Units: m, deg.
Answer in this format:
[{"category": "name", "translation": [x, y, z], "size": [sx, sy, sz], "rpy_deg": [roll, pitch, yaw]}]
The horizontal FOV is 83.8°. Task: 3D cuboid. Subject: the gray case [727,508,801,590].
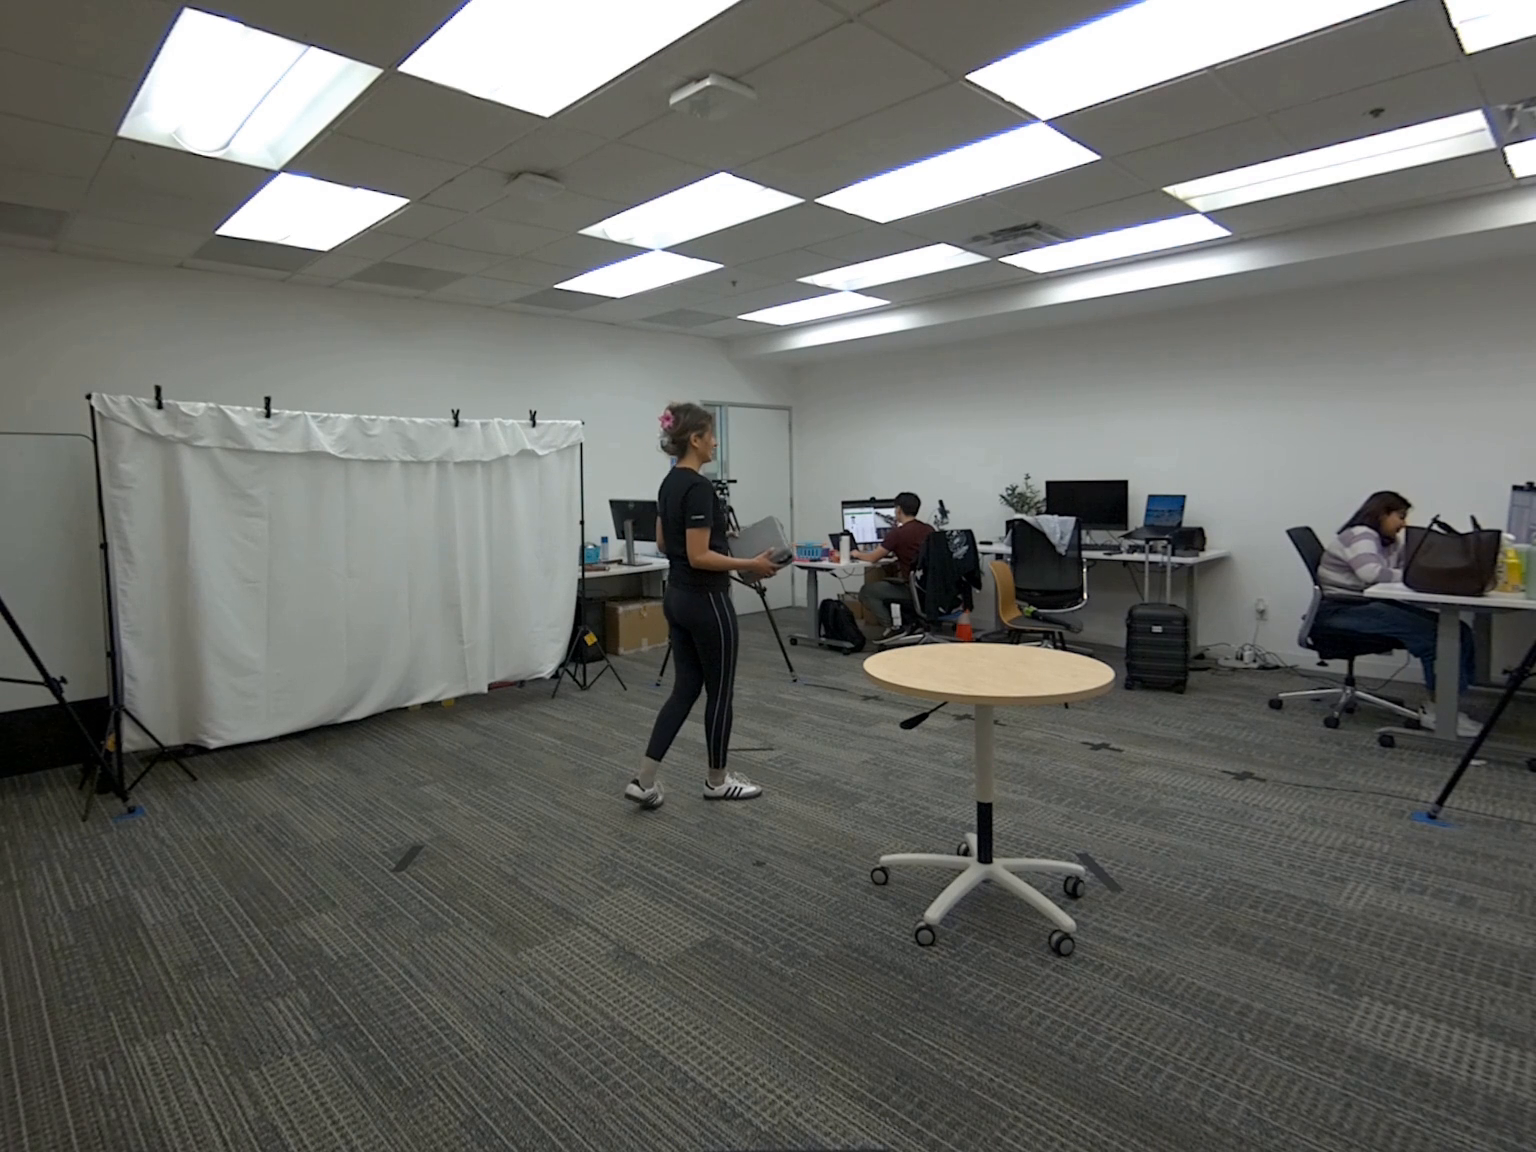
[{"category": "gray case", "translation": [-0.030, -0.121, 3.738], "size": [0.258, 0.270, 0.100], "rpy_deg": [-28, -46, 8]}]
